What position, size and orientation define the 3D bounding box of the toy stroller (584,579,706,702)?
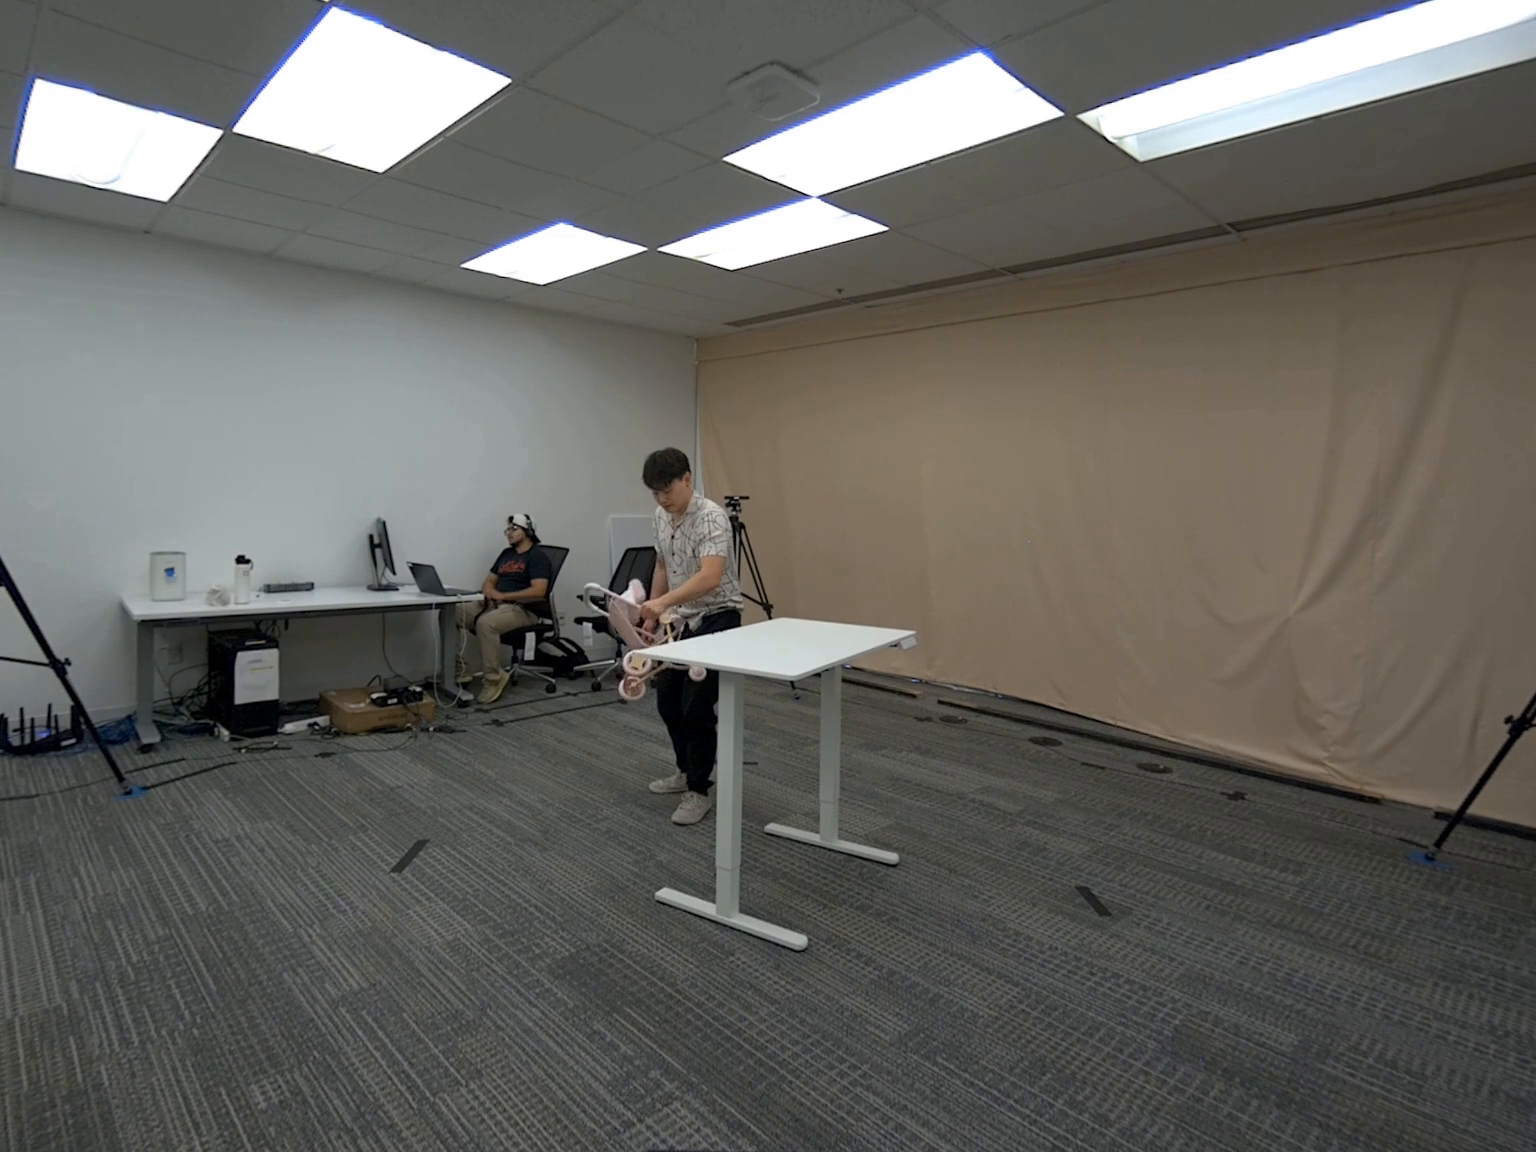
[{"bbox_3d":[-0.511,0.231,3.419,0.338,0.548,0.277,-21,-26,-19],"label":"toy stroller"}]
